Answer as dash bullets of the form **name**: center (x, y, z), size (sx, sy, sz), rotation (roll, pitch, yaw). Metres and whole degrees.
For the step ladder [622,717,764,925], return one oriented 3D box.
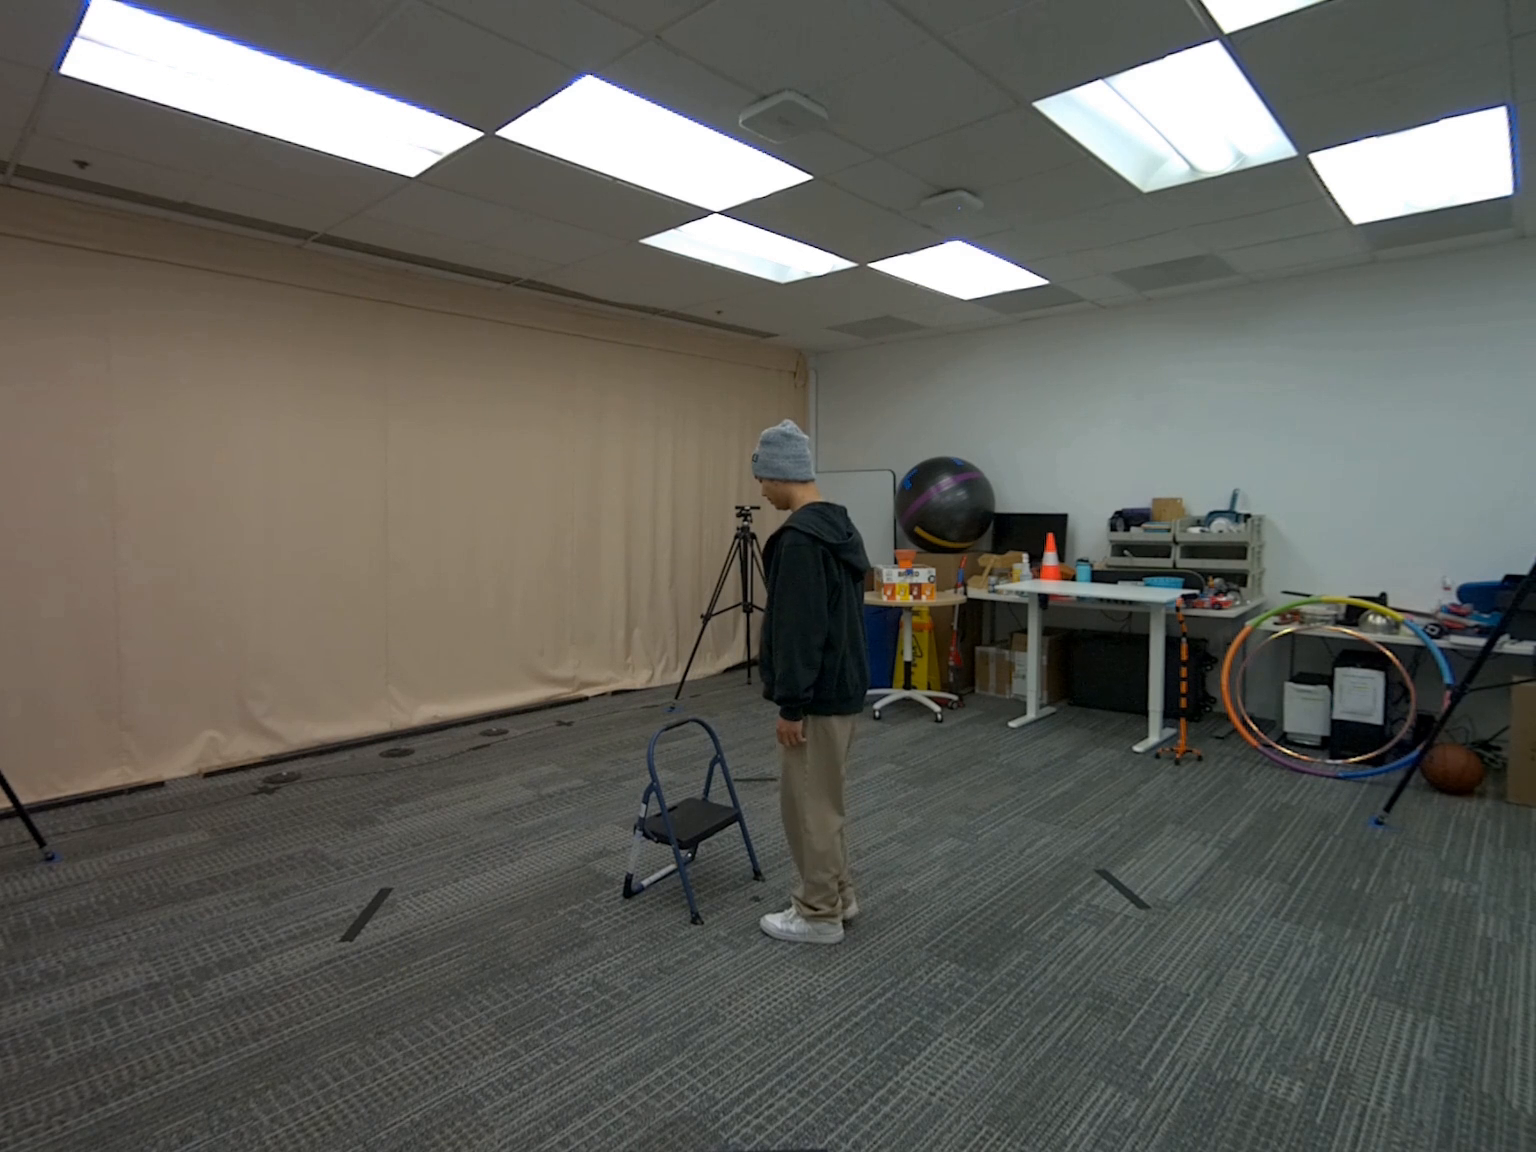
- **step ladder**: center (-0.268, 0.837, 3.055), size (0.360, 0.605, 0.418), rotation (2, 4, 33)
